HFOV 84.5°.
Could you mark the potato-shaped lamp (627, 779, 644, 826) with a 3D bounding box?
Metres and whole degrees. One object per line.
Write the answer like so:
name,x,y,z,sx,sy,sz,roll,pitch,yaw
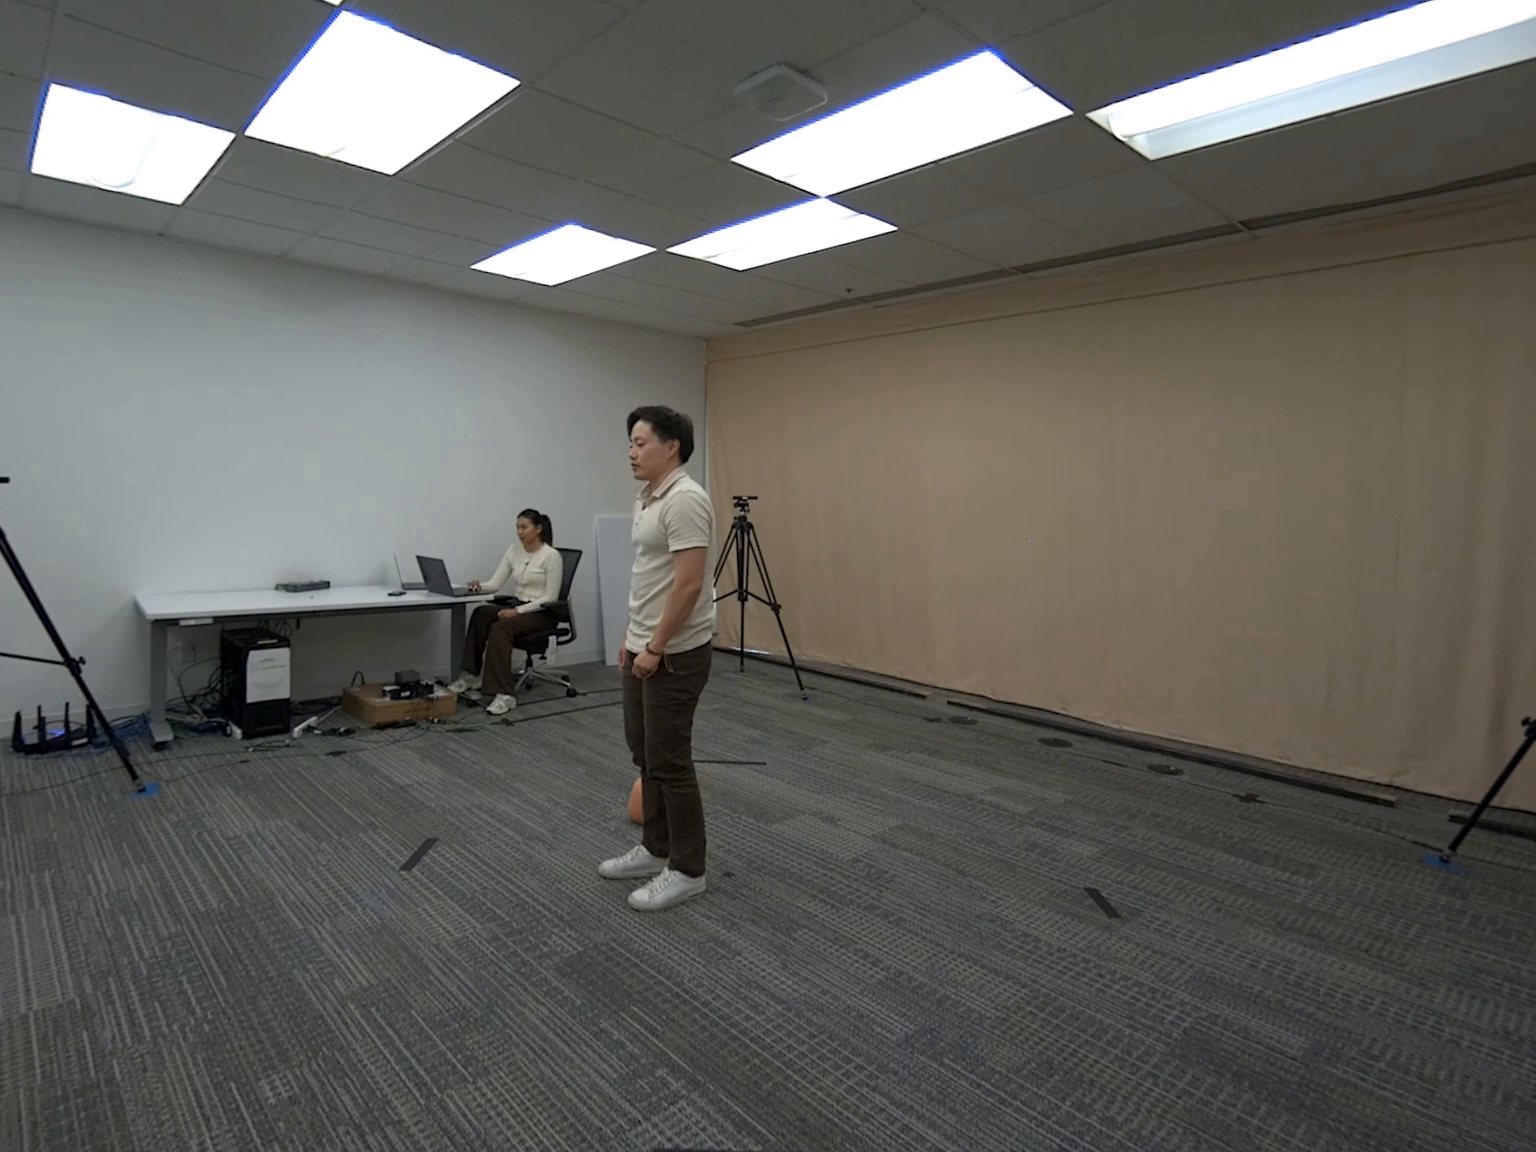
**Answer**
potato-shaped lamp,-0.525,0.951,3.594,0.162,0.197,0.175,0,8,-22
